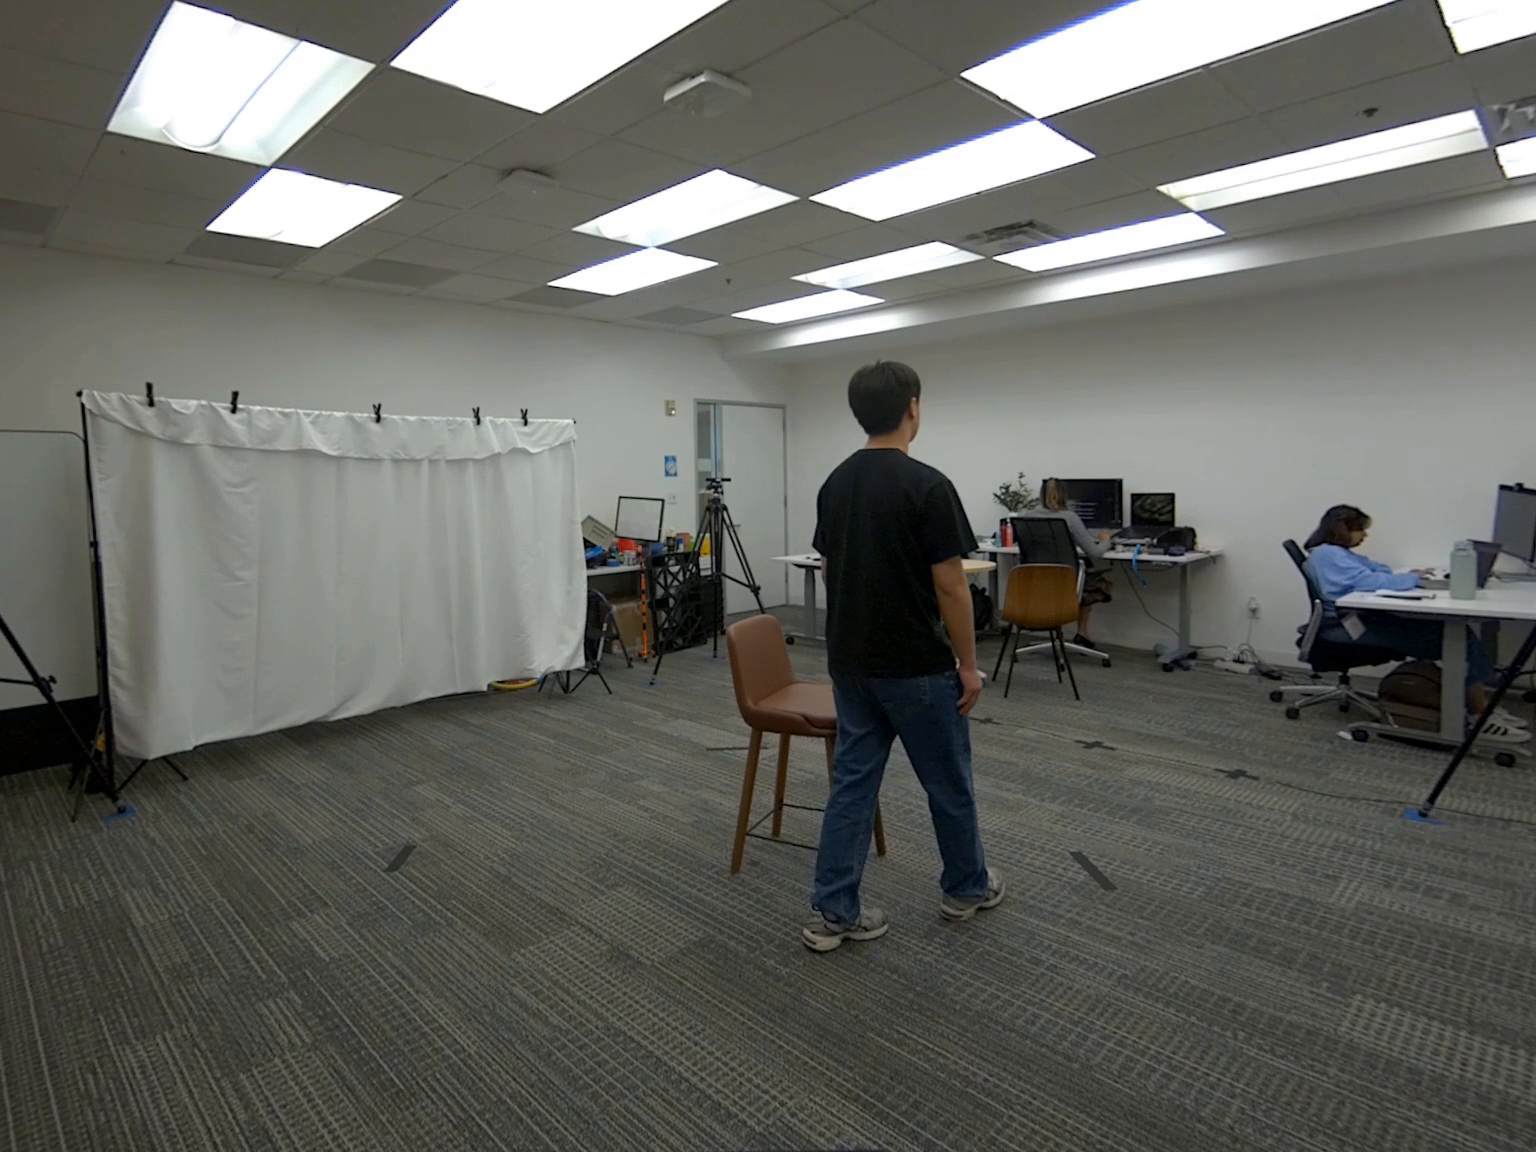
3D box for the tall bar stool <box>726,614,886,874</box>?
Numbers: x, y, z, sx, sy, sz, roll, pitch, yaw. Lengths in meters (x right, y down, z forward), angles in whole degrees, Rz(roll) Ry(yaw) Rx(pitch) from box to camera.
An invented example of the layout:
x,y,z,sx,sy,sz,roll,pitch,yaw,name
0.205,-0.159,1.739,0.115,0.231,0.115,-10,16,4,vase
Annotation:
x,y,z,sx,sy,sz,roll,pitch,yaw,name
0.140,0.609,3.070,0.479,0.887,0.447,0,3,28,tall bar stool
